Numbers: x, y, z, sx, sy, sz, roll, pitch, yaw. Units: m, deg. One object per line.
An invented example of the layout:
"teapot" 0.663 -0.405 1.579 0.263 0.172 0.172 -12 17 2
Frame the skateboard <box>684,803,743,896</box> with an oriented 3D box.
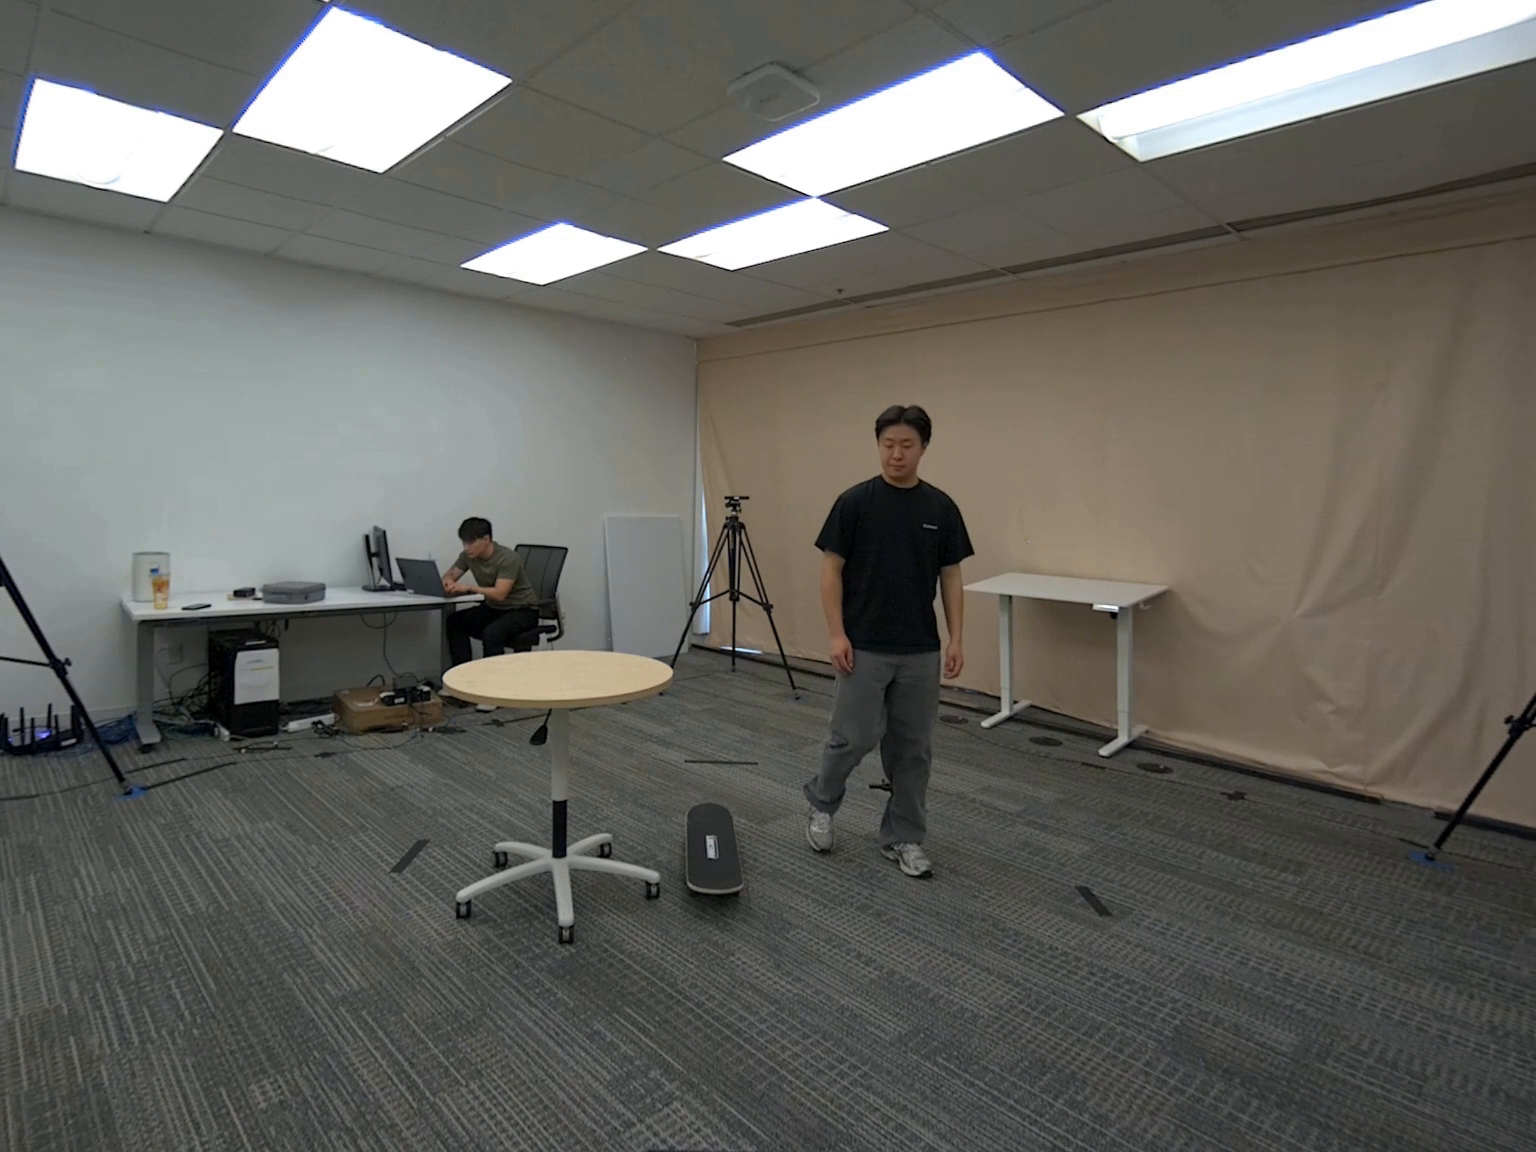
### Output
"skateboard" -0.210 1.039 3.144 0.193 0.110 0.791 0 6 -6
